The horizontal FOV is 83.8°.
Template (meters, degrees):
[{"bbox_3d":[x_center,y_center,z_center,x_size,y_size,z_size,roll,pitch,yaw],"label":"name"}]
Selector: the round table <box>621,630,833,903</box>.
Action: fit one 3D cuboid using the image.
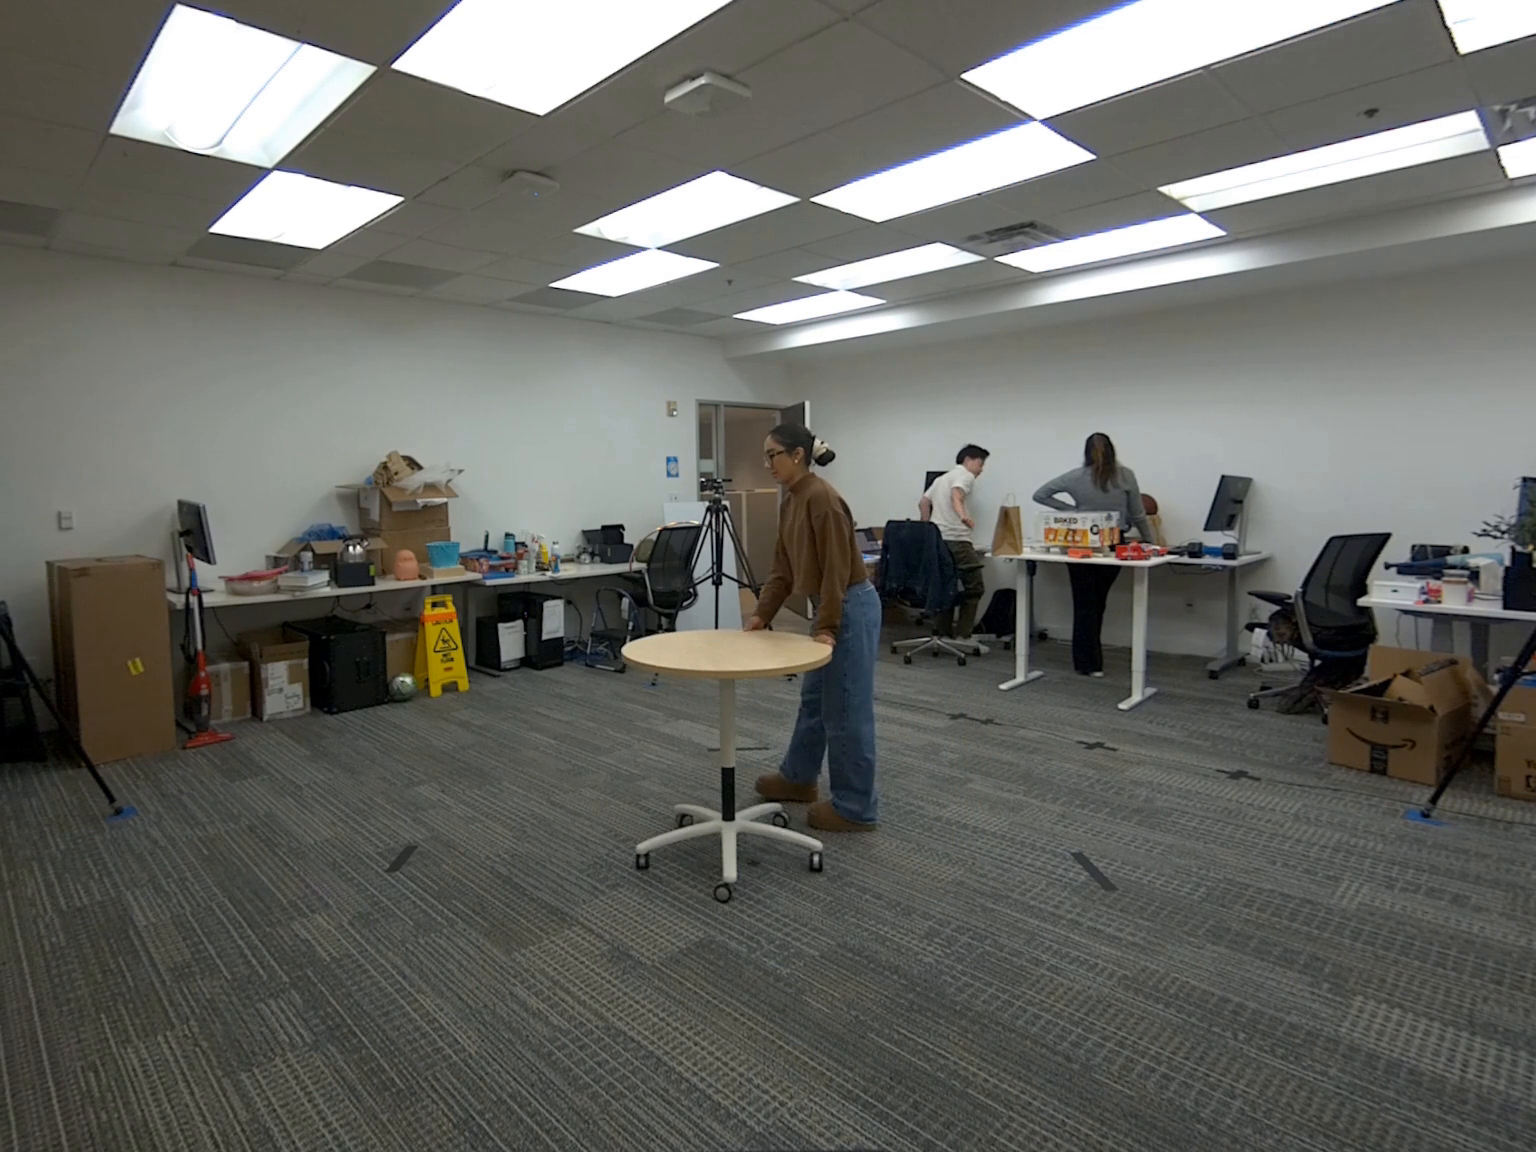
[{"bbox_3d":[-0.136,0.647,3.149,0.784,0.783,0.789,0,5,-2],"label":"round table"}]
